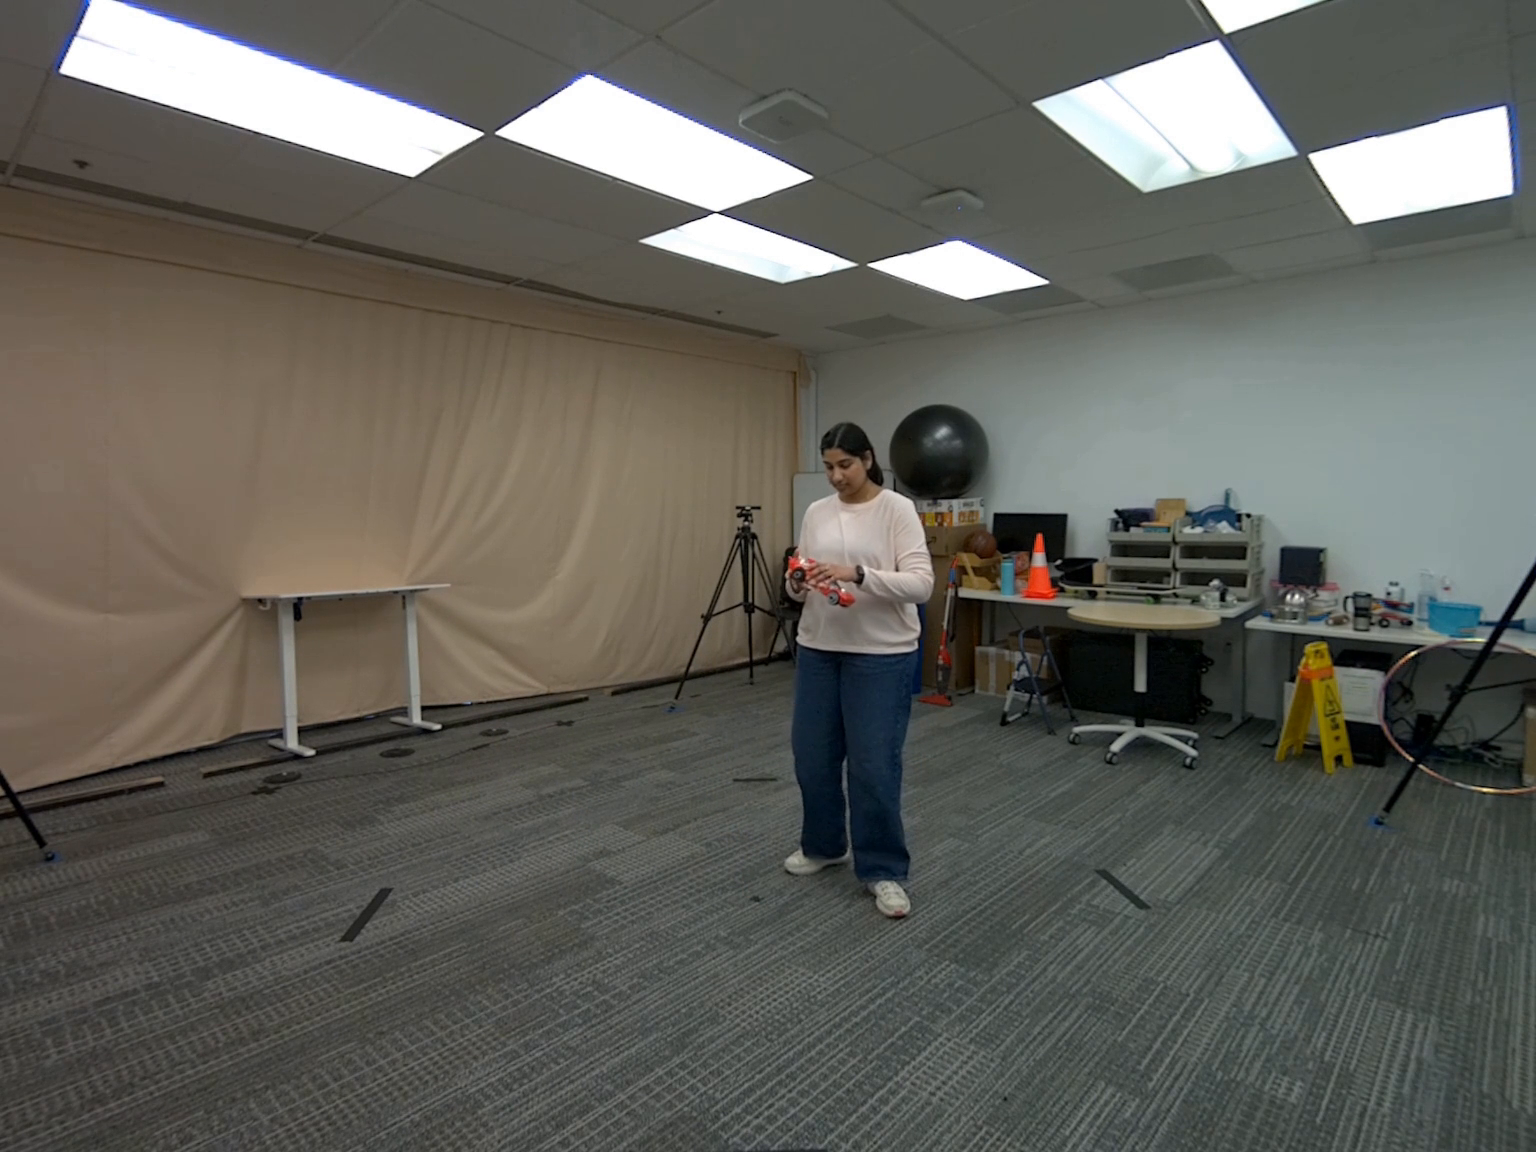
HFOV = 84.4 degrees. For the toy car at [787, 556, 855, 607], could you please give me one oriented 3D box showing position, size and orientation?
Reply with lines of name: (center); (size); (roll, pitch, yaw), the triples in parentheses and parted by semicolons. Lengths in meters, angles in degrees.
toy car: (0.175, 0.021, 2.767); (0.262, 0.083, 0.126); (46, 17, 29)
